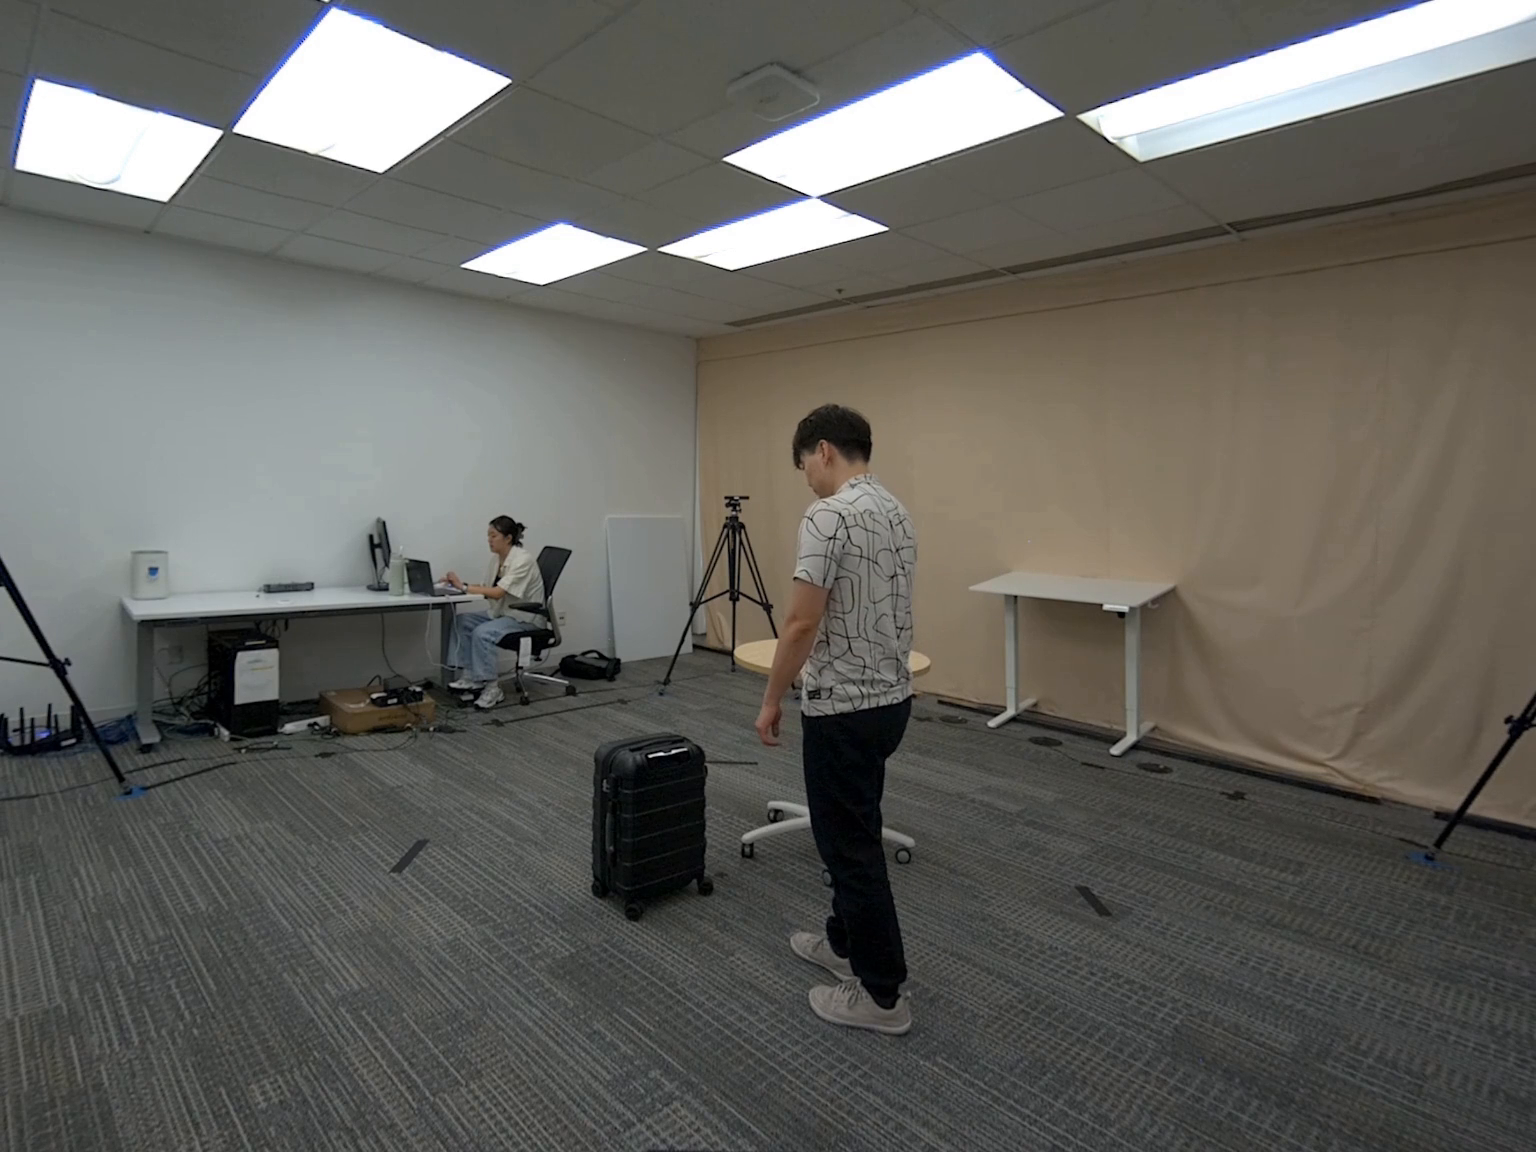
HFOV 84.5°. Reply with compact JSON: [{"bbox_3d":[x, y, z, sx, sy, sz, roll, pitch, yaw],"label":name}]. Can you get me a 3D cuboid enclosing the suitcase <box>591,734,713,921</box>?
[{"bbox_3d":[-0.420,0.837,2.927,0.367,0.548,0.254,-3,3,-39],"label":"suitcase"}]
